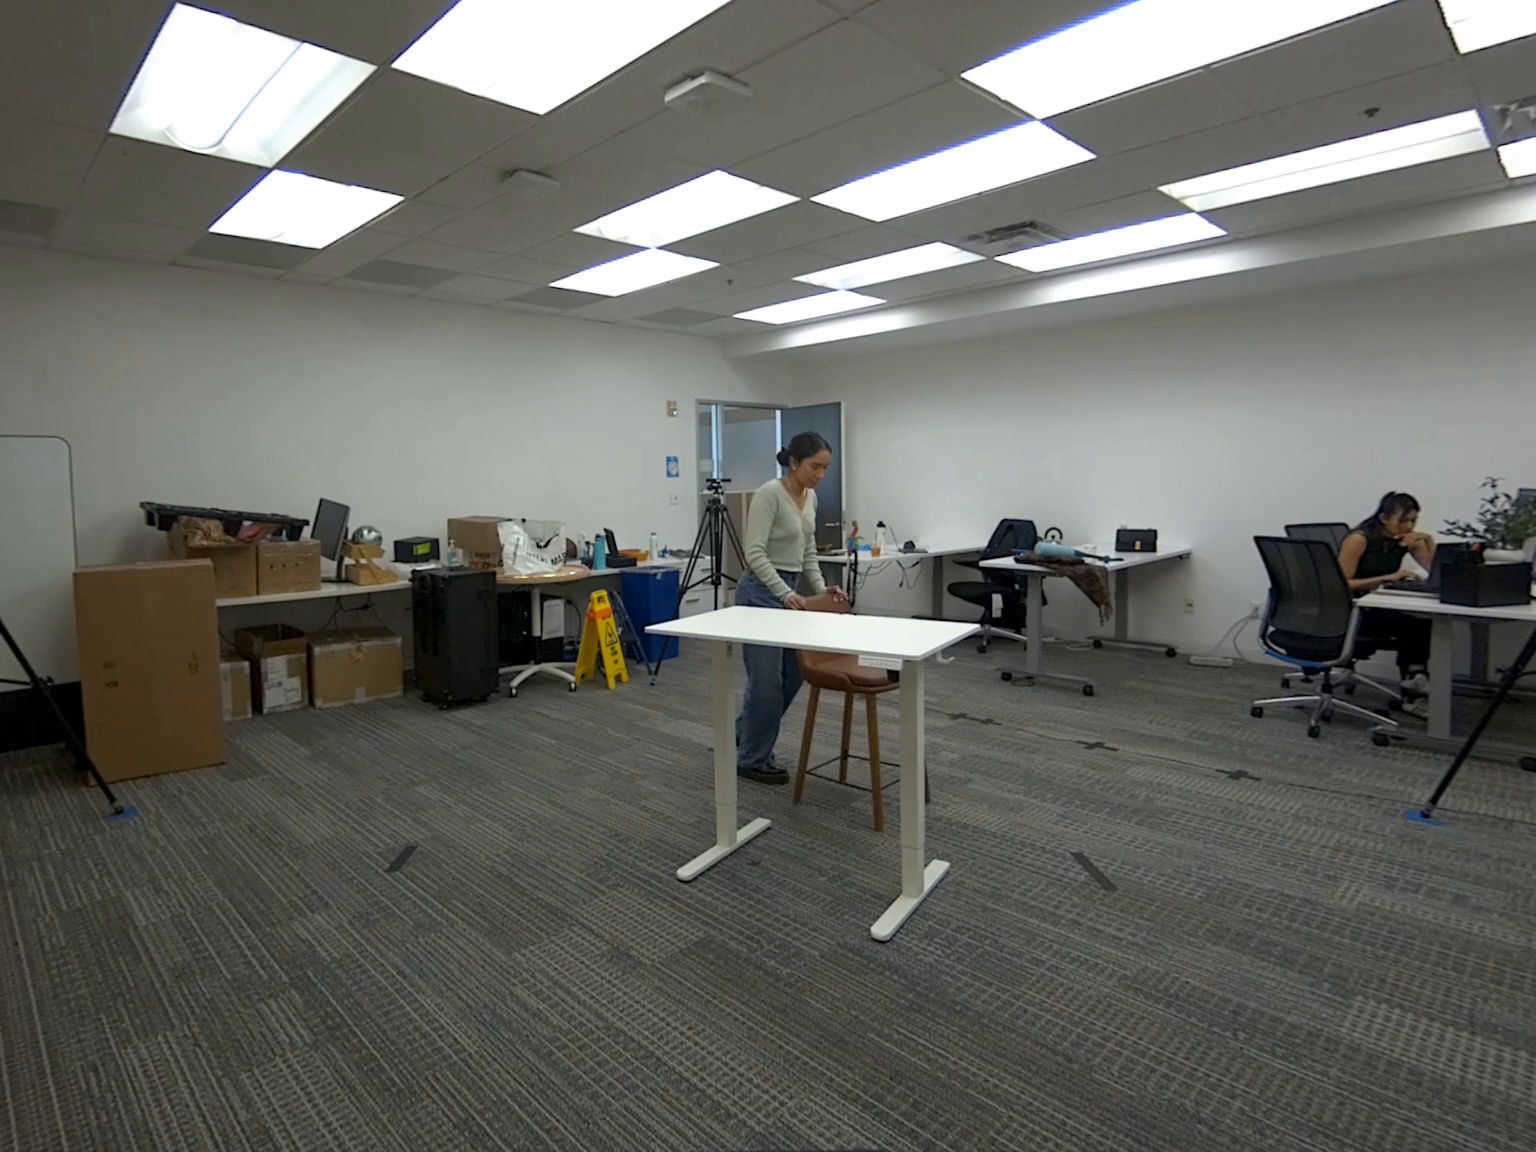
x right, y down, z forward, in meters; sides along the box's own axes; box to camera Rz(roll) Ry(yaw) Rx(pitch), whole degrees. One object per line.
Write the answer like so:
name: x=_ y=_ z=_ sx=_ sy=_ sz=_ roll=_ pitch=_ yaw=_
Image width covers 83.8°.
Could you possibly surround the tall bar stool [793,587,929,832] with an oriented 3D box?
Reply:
tall bar stool: x=0.382 y=0.538 z=3.641 sx=0.481 sy=0.888 sz=0.444 roll=0 pitch=3 yaw=41
